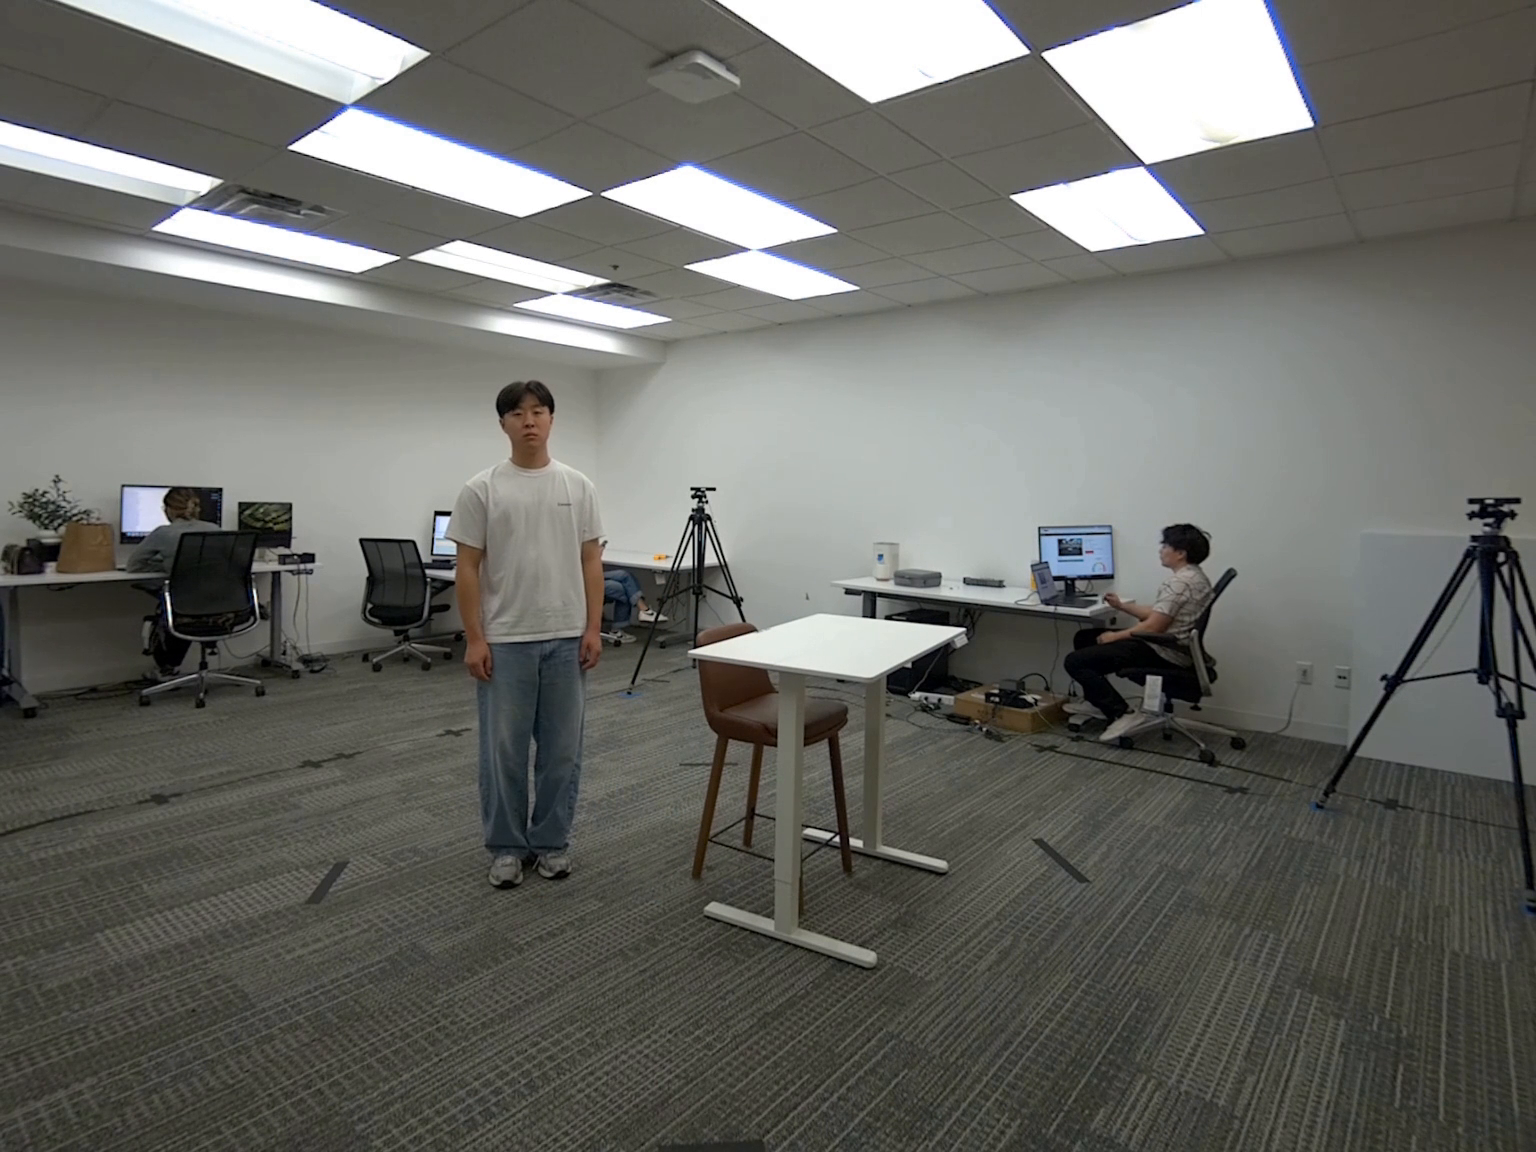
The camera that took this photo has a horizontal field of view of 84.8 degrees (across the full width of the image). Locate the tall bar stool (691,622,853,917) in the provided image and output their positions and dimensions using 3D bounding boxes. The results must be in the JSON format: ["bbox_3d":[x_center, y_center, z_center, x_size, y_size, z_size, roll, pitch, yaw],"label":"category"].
[{"bbox_3d":[0.002,0.649,3.040,0.481,0.889,0.444,-1,1,33],"label":"tall bar stool"}]
